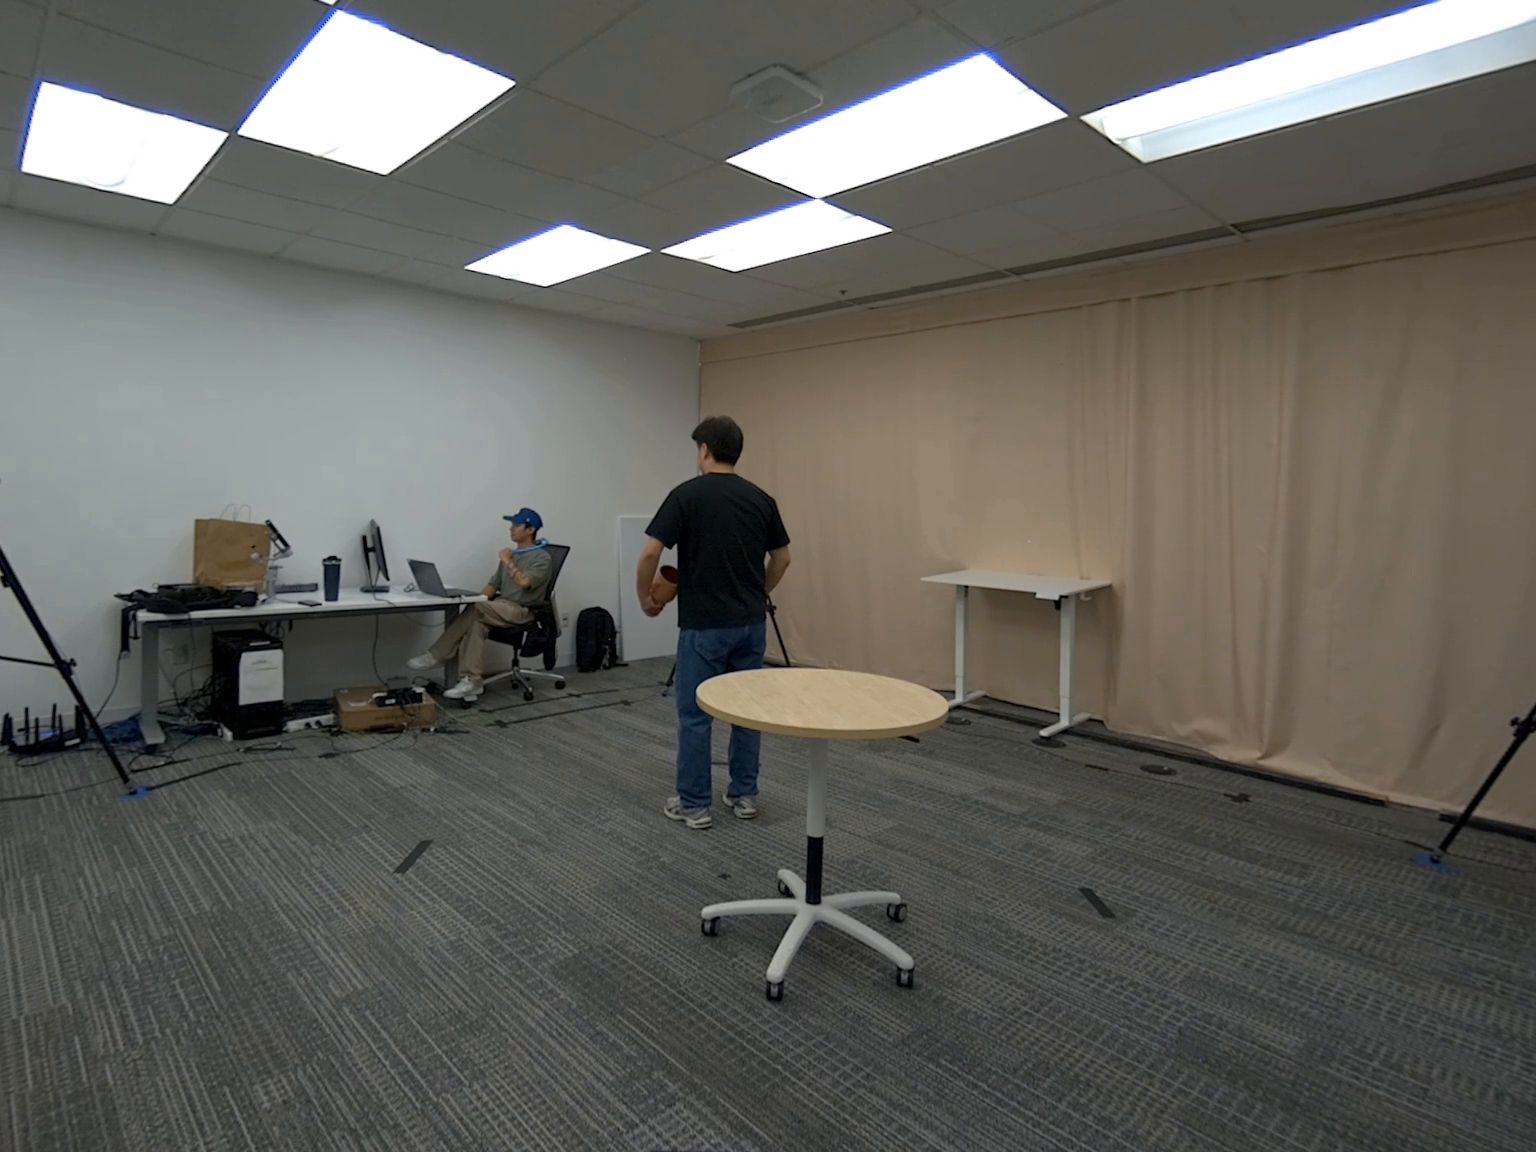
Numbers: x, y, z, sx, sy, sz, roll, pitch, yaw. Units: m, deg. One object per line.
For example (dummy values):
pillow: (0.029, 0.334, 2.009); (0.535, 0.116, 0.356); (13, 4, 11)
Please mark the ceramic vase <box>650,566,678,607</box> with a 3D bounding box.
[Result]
ceramic vase: (-0.497, 0.067, 3.742); (0.155, 0.219, 0.138); (20, 28, -25)
